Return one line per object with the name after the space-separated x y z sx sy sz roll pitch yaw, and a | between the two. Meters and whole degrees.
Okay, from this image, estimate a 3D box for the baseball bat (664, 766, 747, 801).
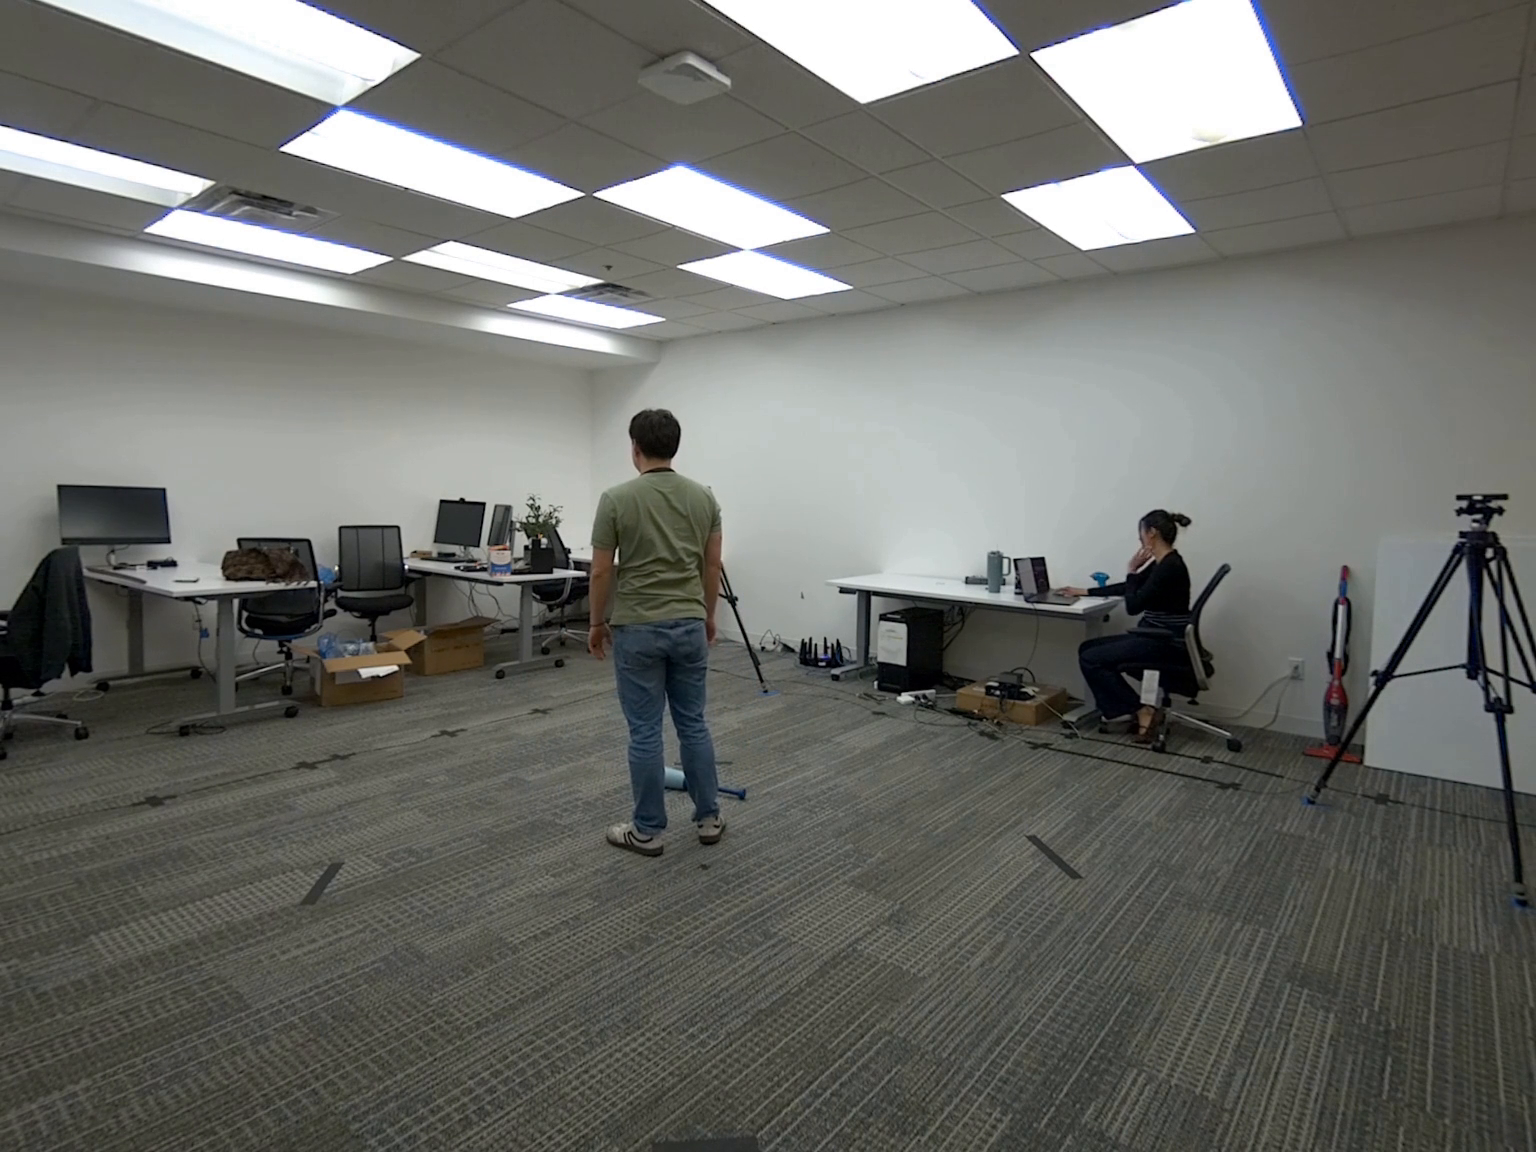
-0.364 0.945 3.905 0.555 0.089 0.087 6 6 21 | baseball bat
